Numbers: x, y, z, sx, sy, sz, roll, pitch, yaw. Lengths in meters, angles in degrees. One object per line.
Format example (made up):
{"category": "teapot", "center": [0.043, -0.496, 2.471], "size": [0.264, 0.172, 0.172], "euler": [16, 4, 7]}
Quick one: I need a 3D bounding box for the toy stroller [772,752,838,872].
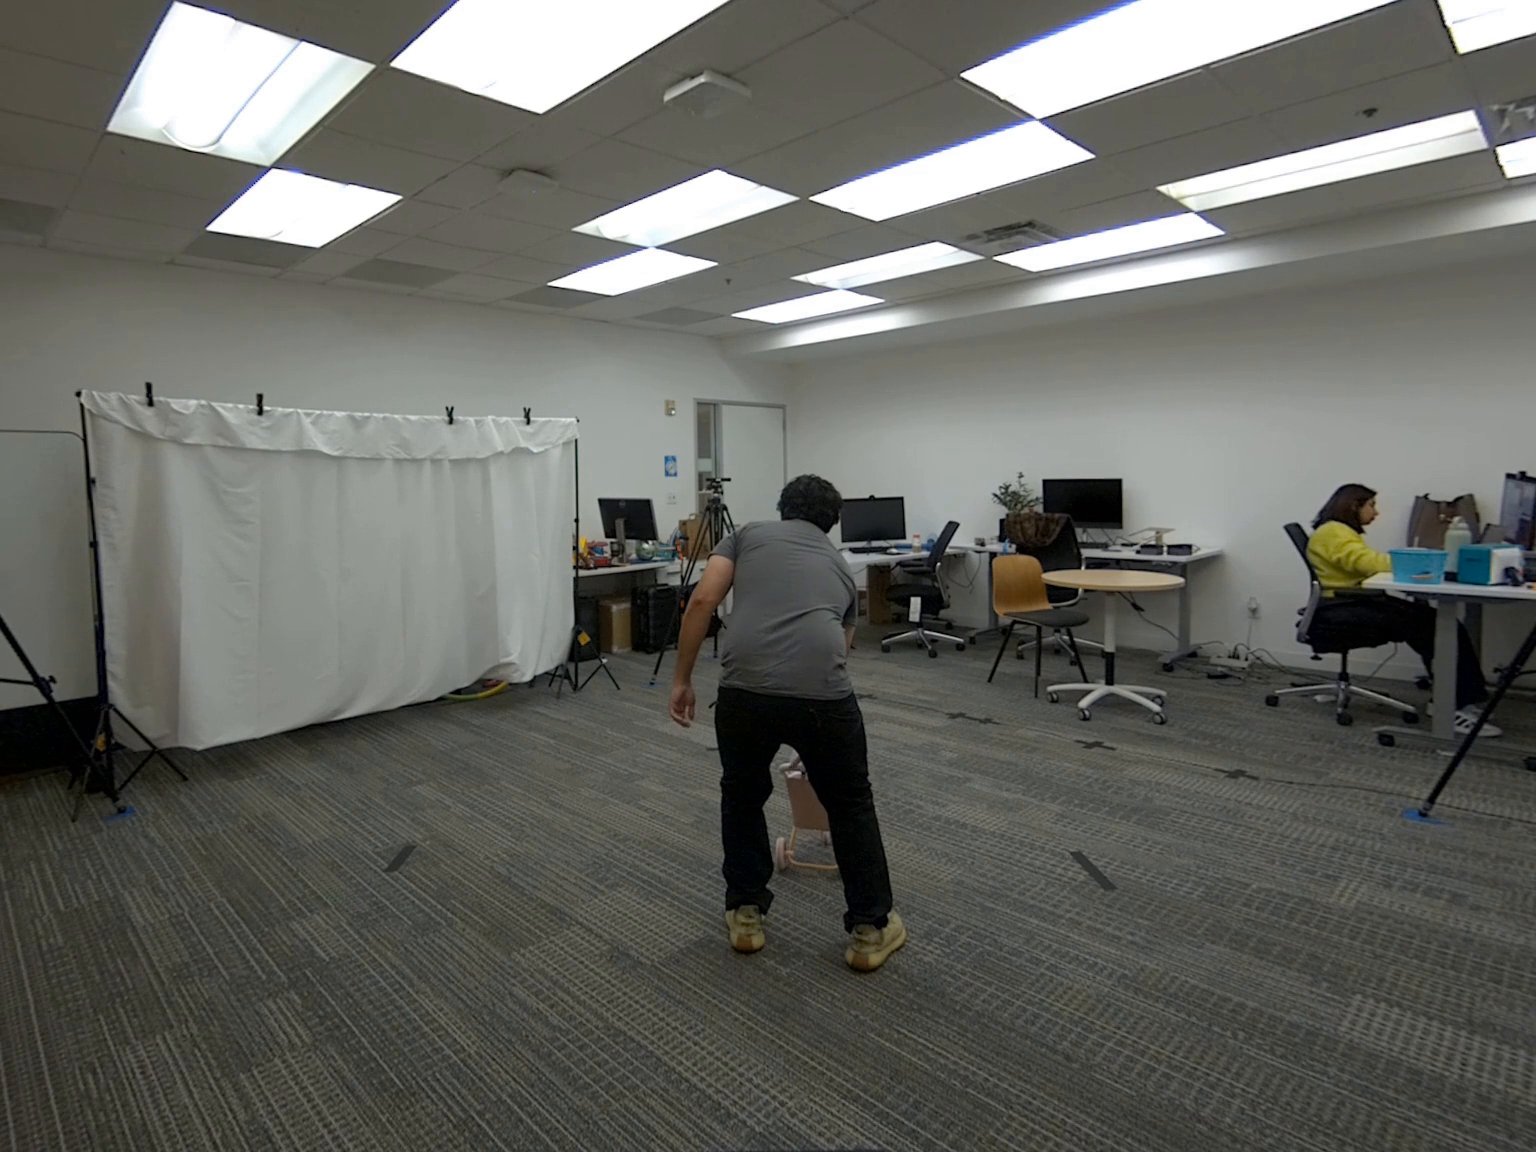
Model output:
{"category": "toy stroller", "center": [0.187, 0.818, 3.072], "size": [0.286, 0.525, 0.341], "euler": [1, 20, 18]}
